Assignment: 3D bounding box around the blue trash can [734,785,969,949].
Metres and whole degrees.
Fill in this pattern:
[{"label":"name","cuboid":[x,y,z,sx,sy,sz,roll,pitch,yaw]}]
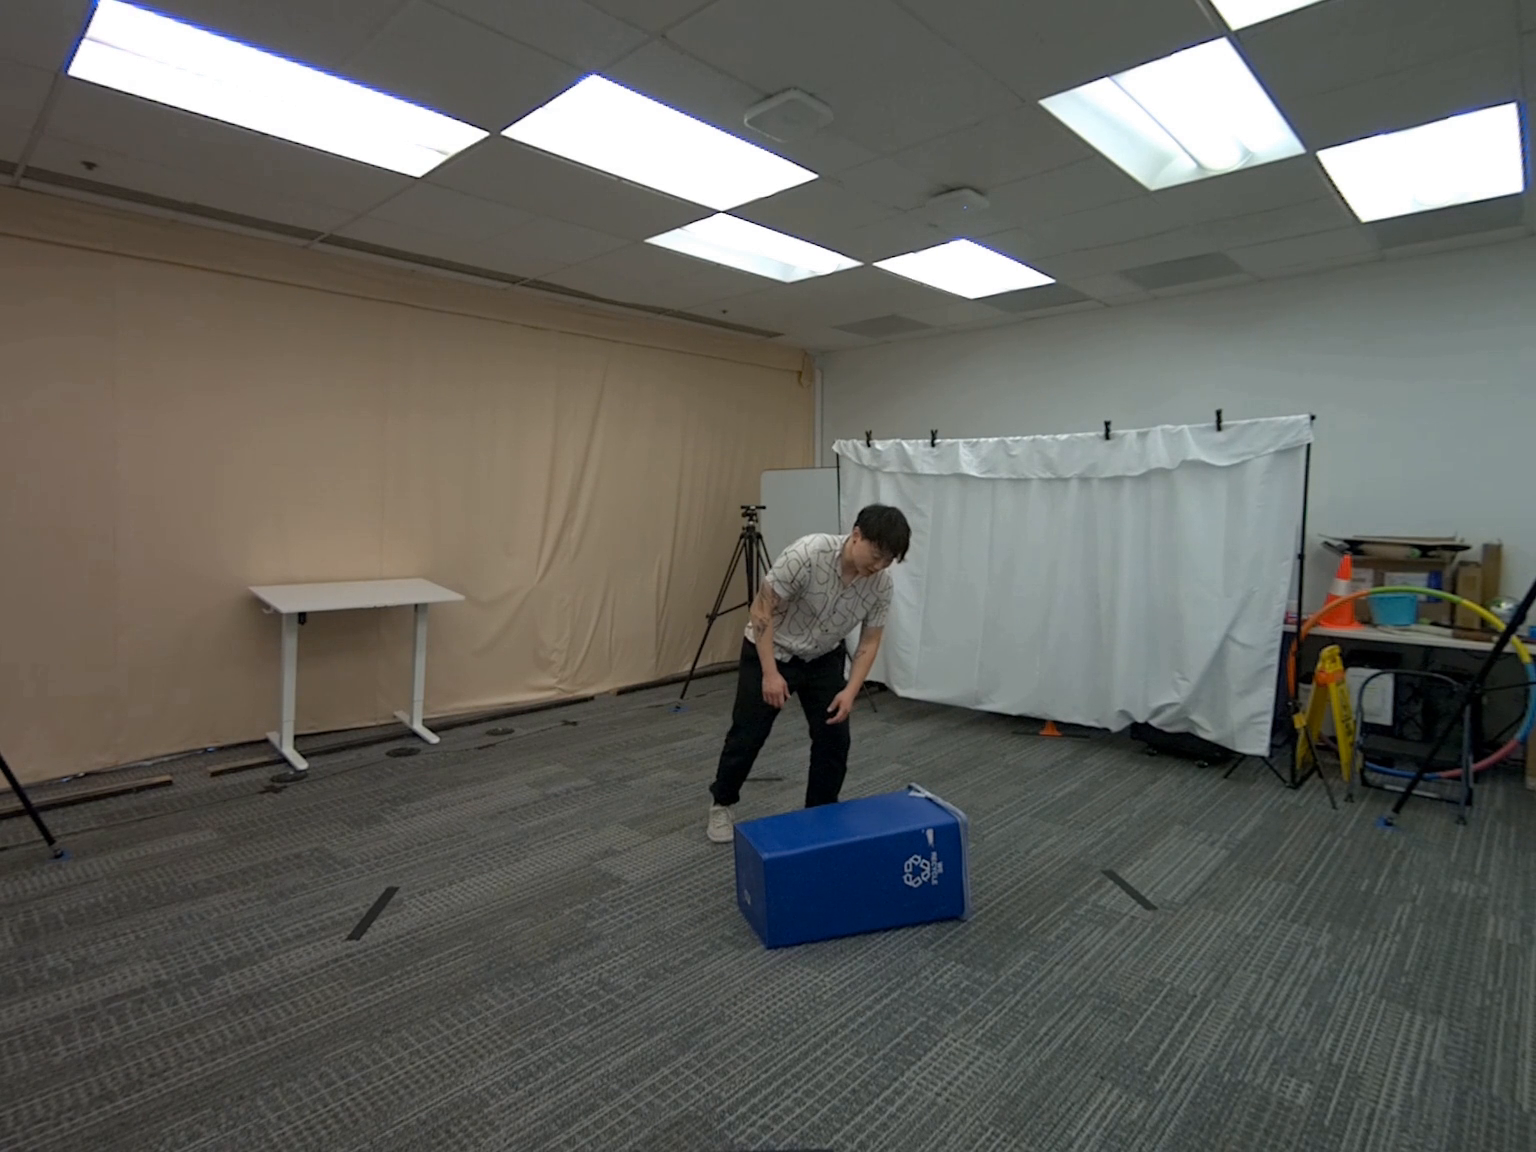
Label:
[{"label":"blue trash can","cuboid":[0.278,0.985,2.872,0.702,0.373,0.385,-5,4,-17]}]
